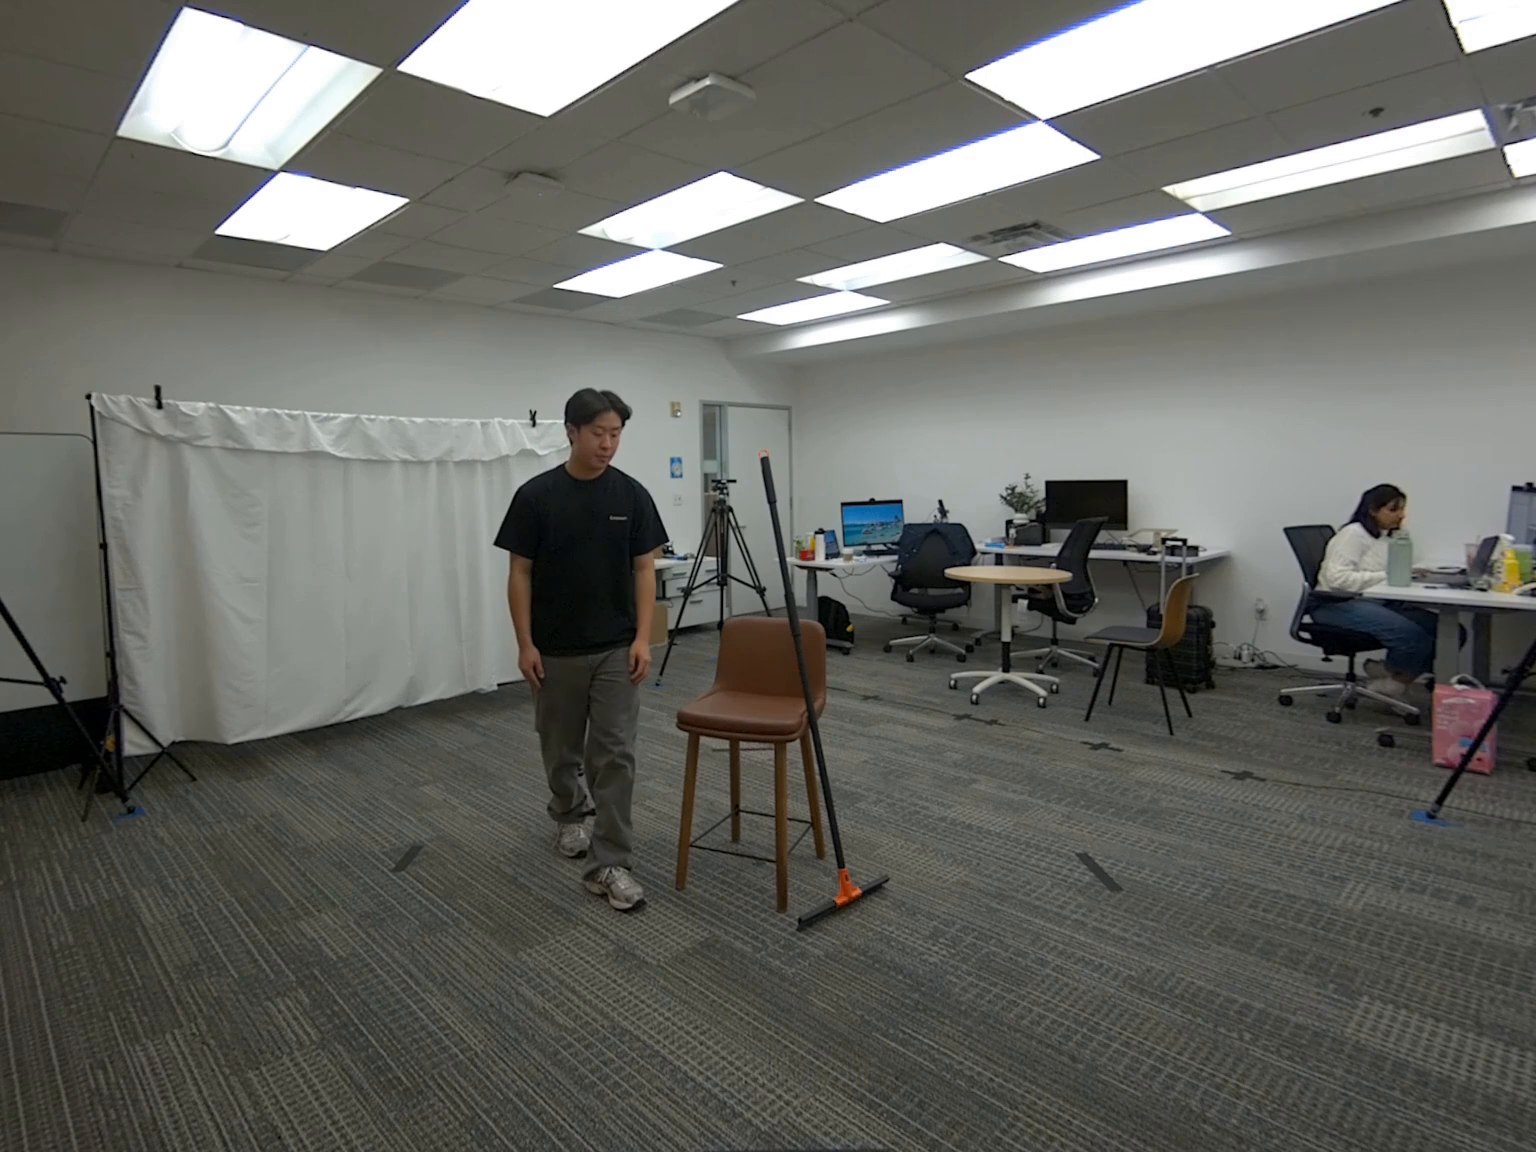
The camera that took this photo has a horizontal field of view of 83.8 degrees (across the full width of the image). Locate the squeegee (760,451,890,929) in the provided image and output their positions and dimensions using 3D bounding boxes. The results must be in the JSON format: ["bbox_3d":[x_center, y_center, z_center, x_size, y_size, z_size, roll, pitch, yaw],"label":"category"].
[{"bbox_3d":[0.122,0.321,2.860,0.426,1.550,0.054,-3,-9,-40],"label":"squeegee"}]
